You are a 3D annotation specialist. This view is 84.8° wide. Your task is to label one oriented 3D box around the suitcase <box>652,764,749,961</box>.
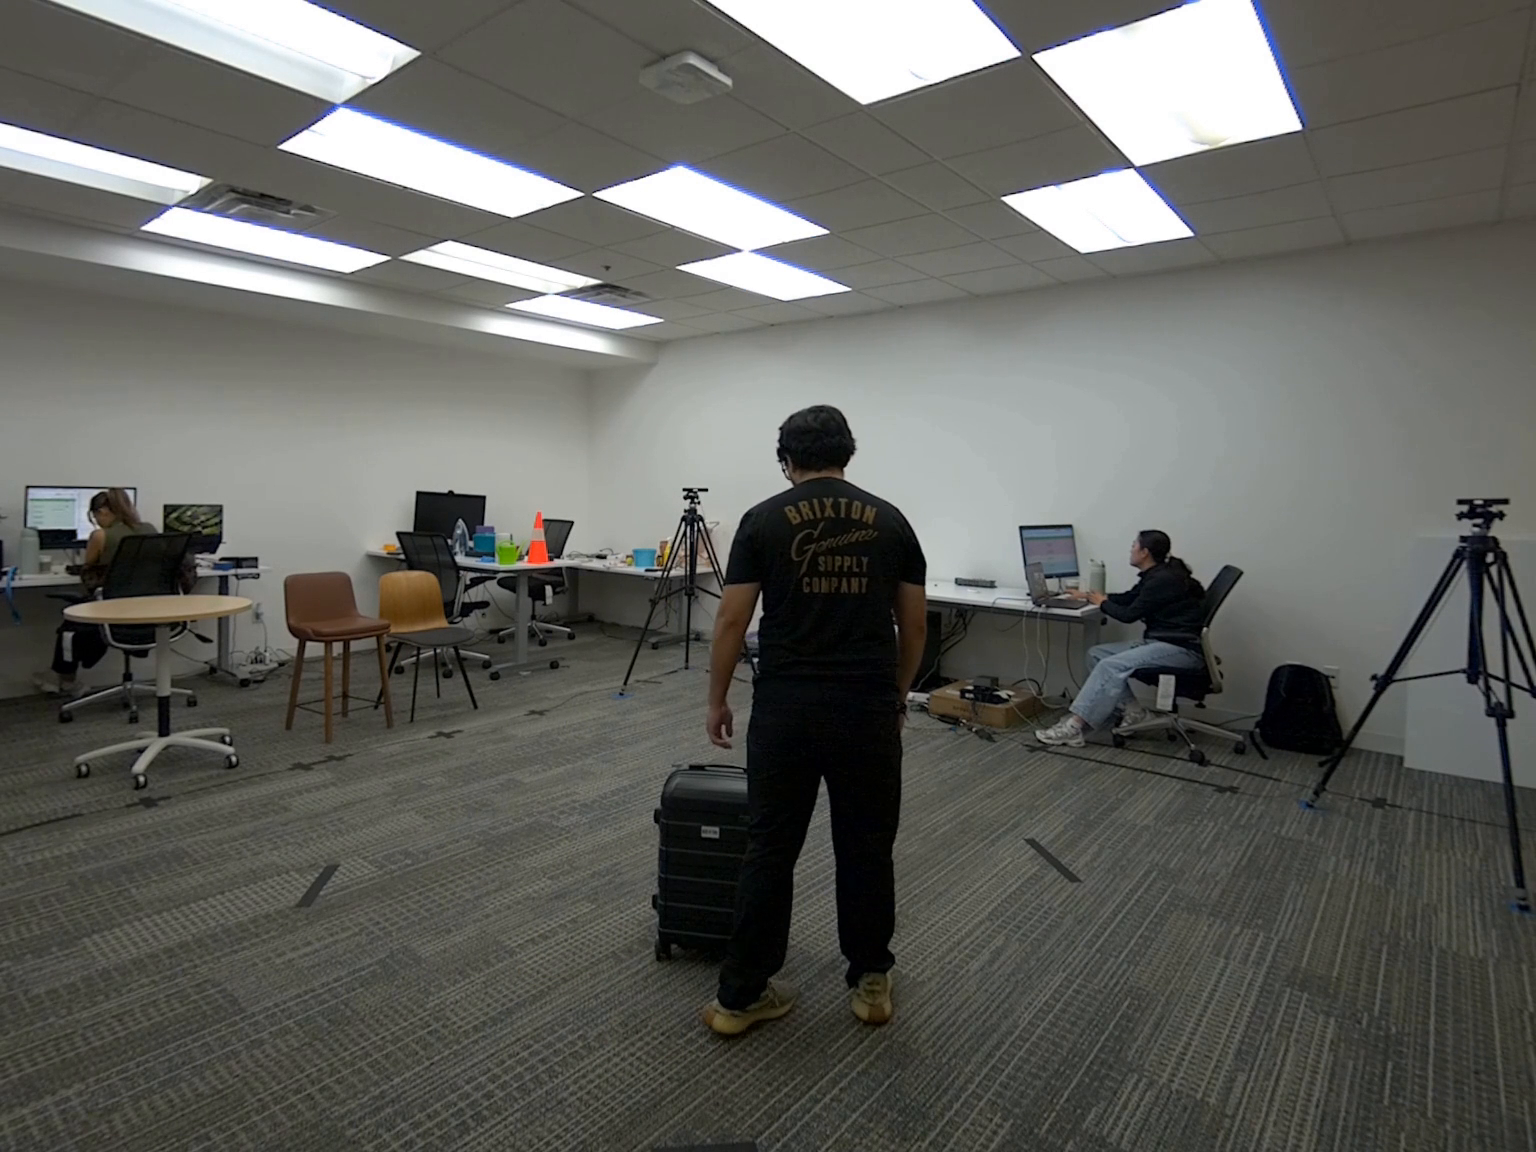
[{"bbox_3d":[-0.151,0.849,2.554,0.379,0.547,0.247,2,5,9],"label":"suitcase"}]
